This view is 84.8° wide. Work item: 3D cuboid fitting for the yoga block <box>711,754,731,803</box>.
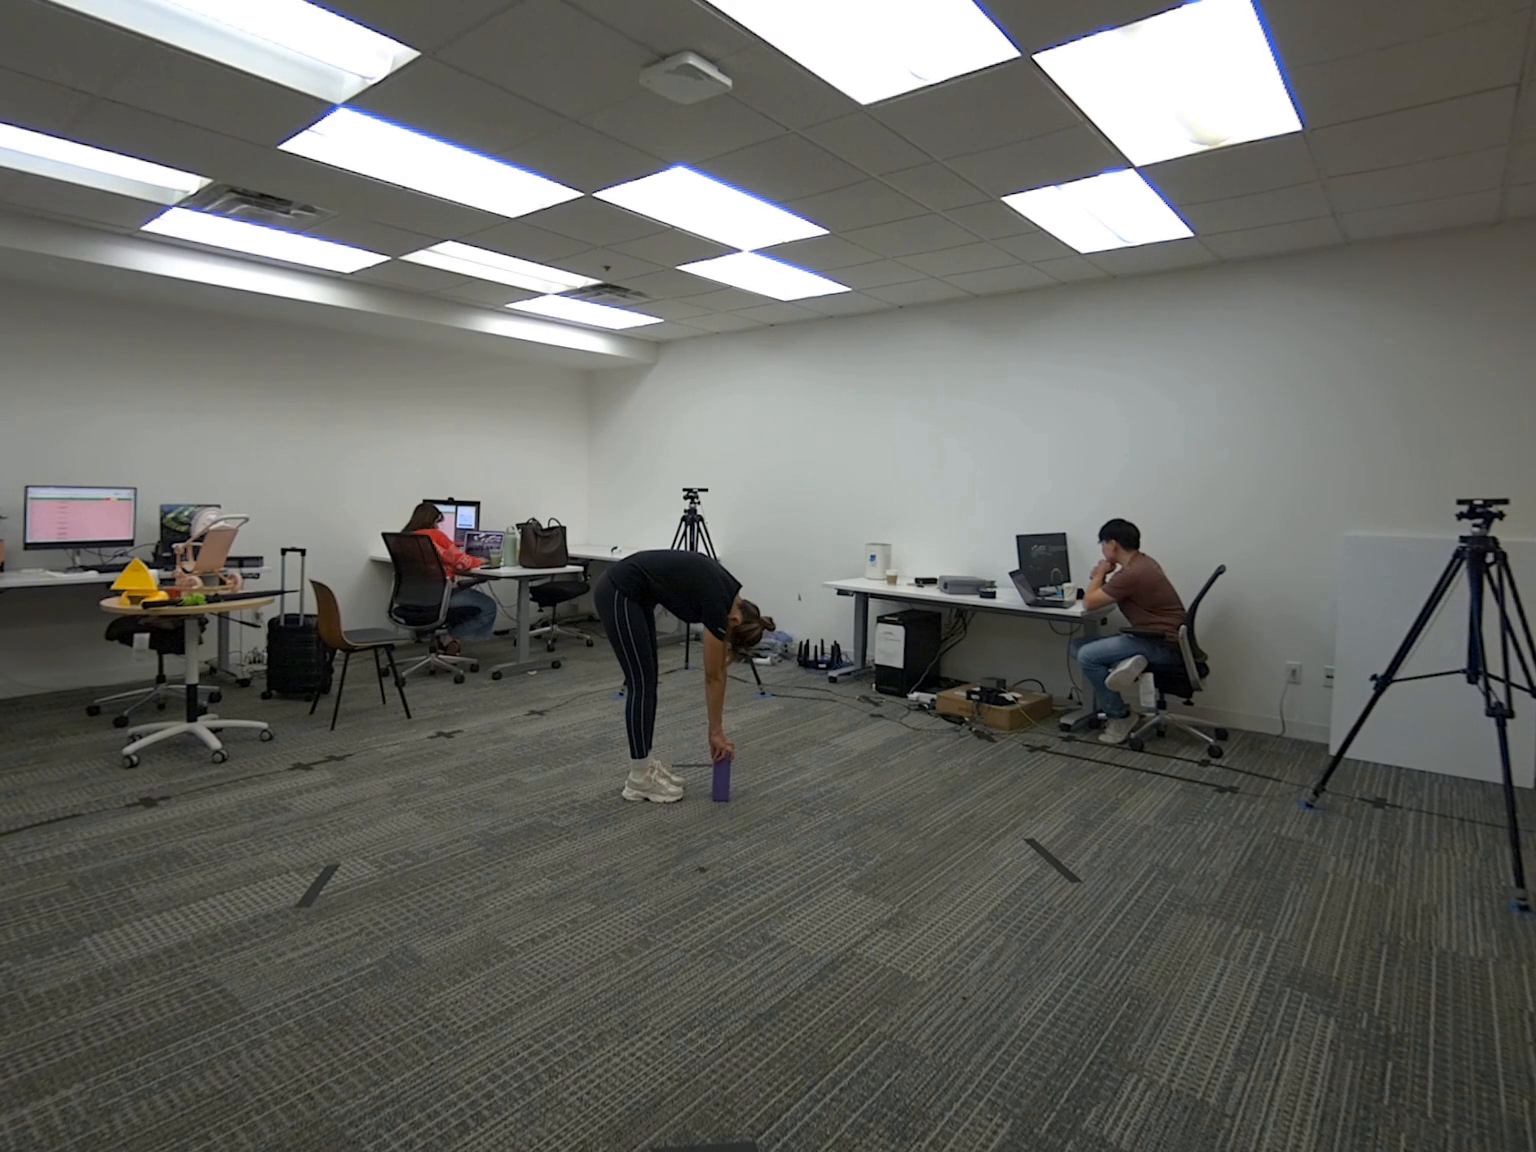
[{"bbox_3d":[-0.220,0.890,3.857,0.076,0.228,0.150,0,5,-3],"label":"yoga block"}]
